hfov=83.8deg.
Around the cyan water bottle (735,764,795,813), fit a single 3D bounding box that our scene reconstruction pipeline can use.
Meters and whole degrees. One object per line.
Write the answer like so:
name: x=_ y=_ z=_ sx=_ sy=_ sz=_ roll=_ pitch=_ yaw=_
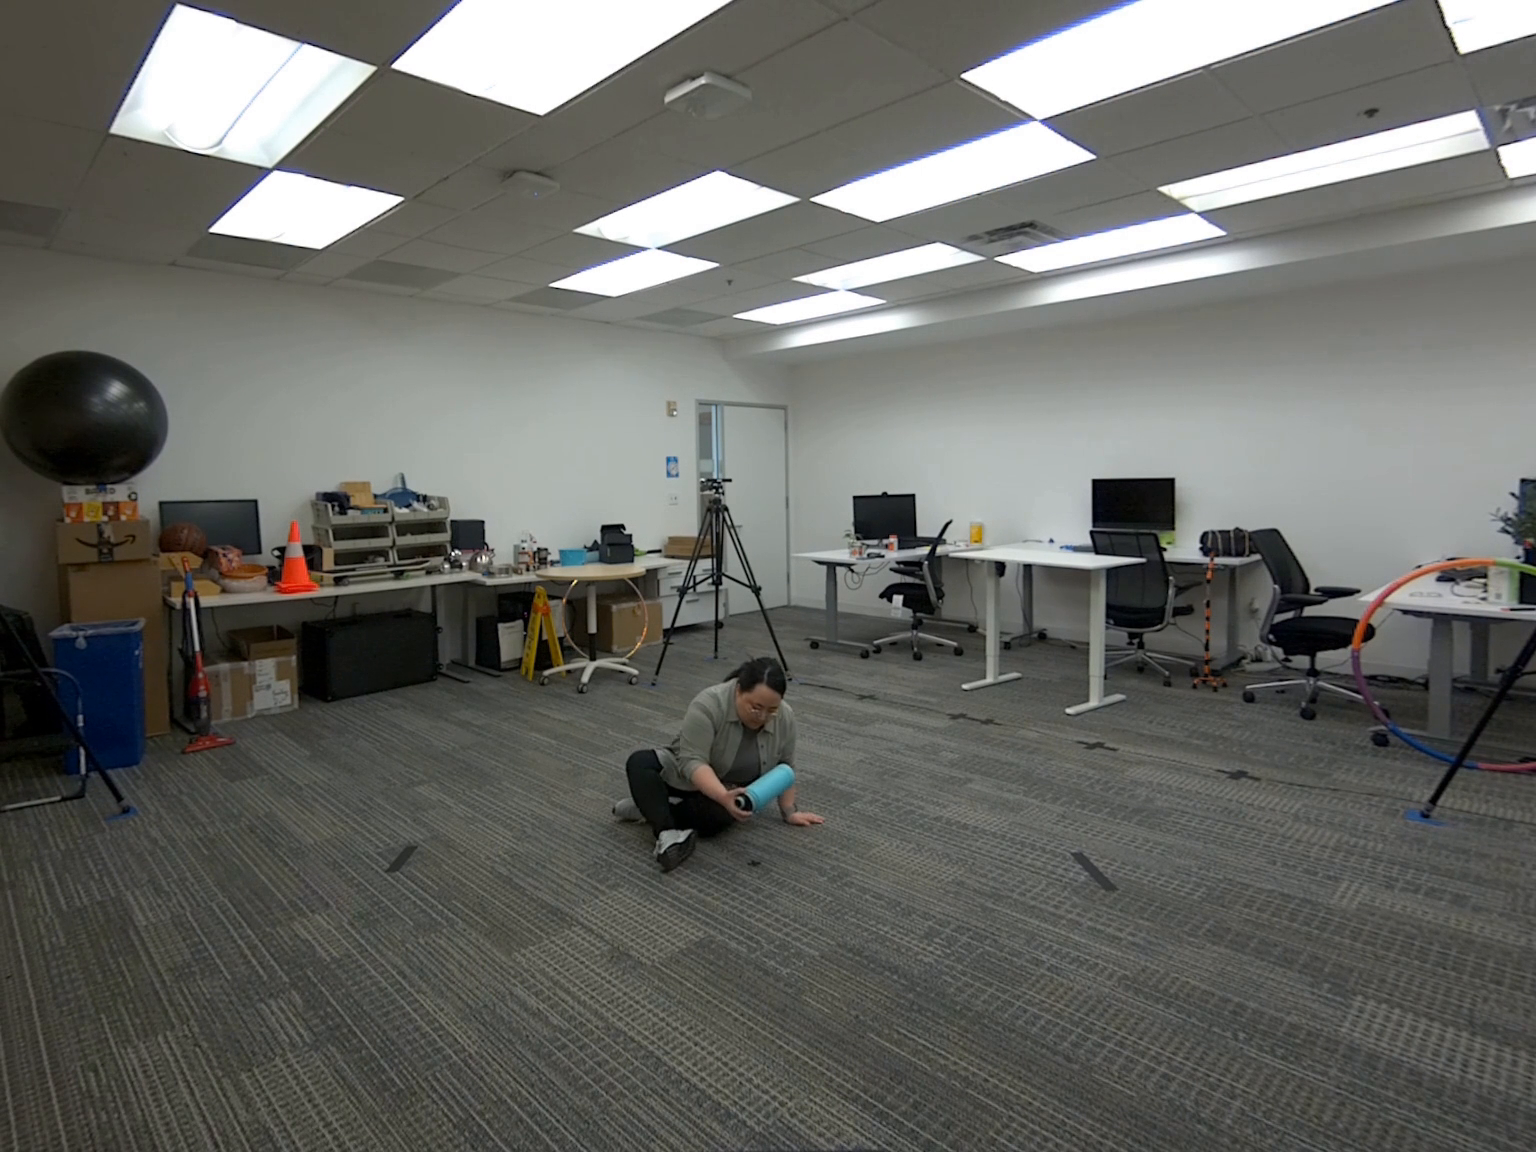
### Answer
cyan water bottle: x=-0.025 y=0.778 z=3.120 sx=0.095 sy=0.091 sz=0.278 roll=3 pitch=16 yaw=36
